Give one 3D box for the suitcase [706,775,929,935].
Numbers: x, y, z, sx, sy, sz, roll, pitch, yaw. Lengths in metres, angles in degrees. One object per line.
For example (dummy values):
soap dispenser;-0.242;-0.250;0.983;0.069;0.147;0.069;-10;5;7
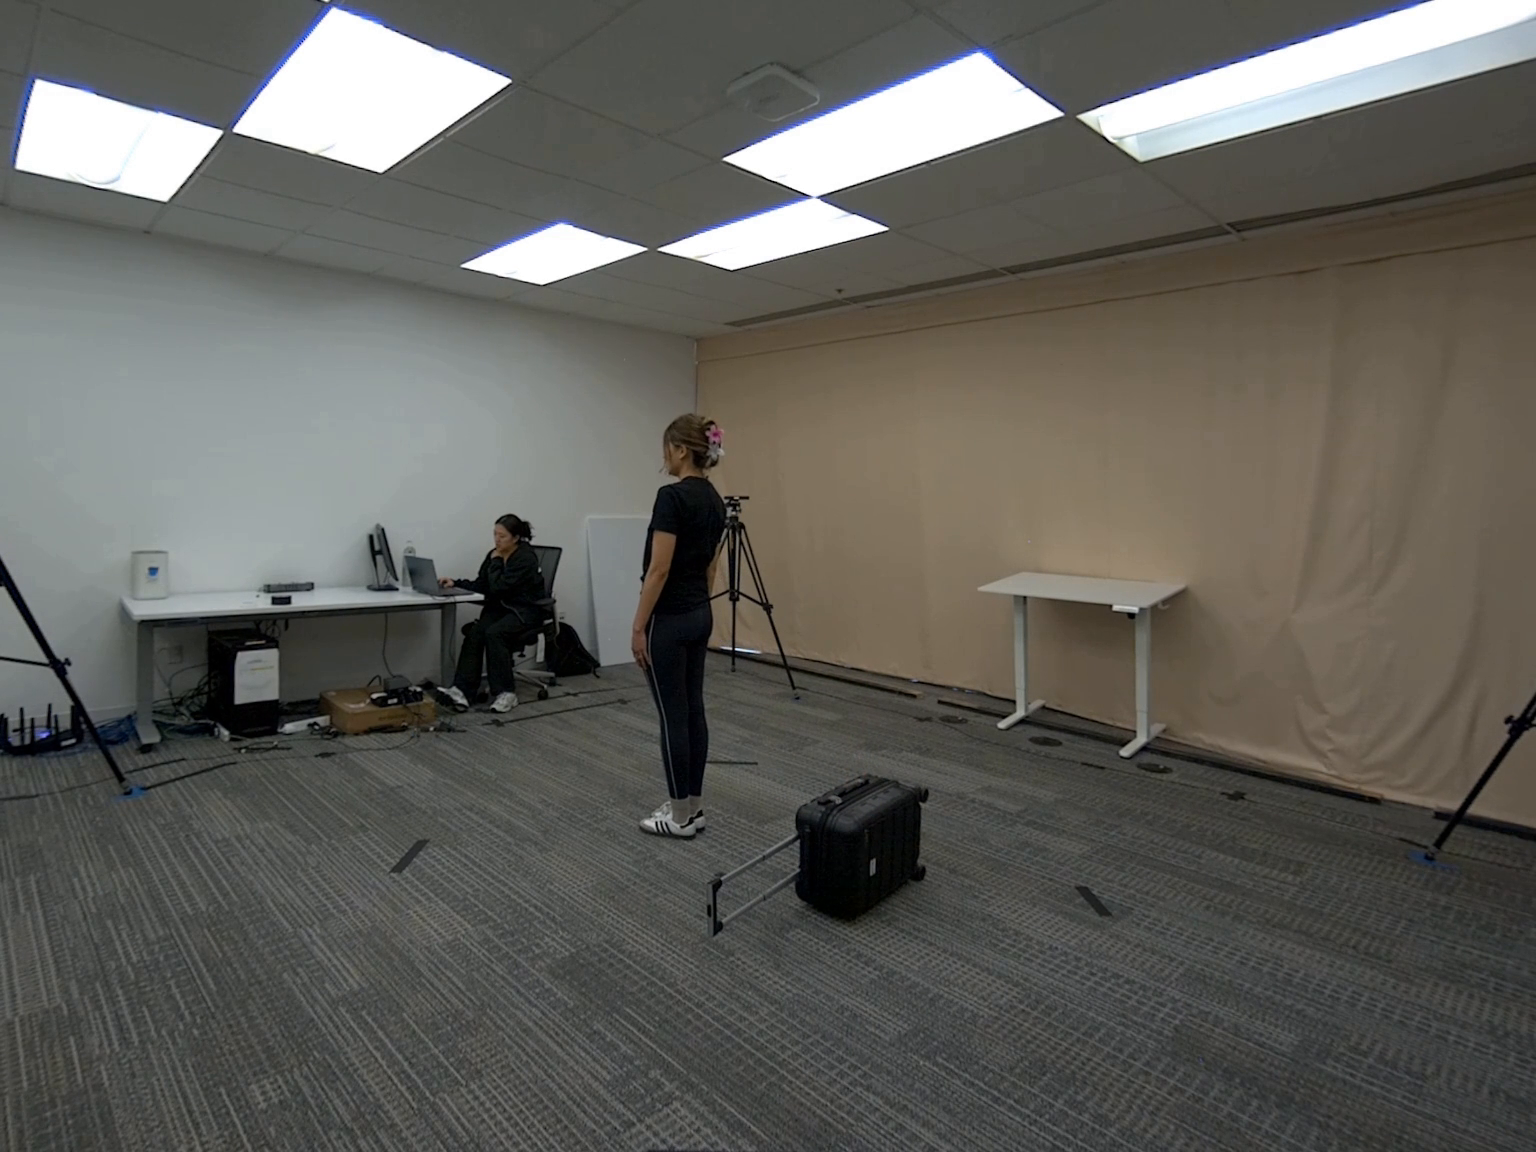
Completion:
suitcase;0.204;0.952;2.810;0.263;0.383;0.958;4;6;36
